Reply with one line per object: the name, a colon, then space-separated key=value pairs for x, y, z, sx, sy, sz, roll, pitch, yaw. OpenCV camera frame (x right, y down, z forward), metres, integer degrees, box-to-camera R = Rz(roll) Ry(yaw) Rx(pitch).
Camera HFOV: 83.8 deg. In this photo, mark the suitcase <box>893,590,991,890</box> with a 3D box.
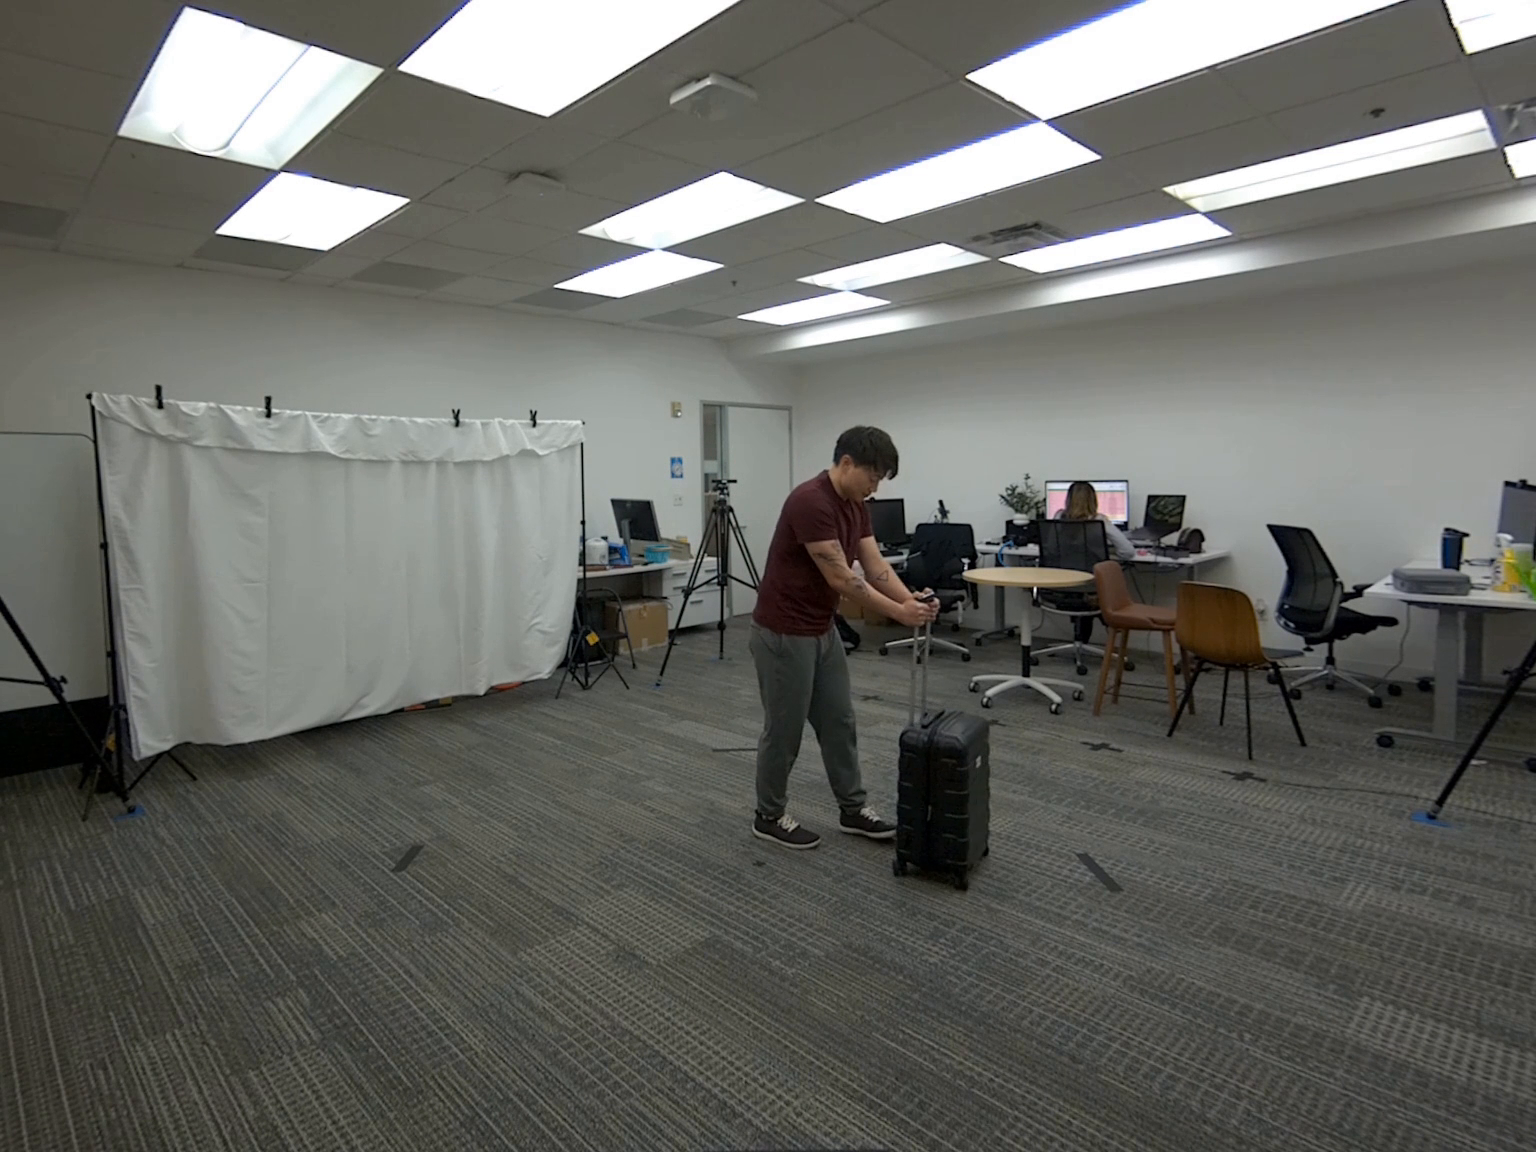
suitcase: x=0.638 y=0.570 z=3.013 sx=0.264 sy=0.973 sz=0.376 roll=4 pitch=8 yaw=28
